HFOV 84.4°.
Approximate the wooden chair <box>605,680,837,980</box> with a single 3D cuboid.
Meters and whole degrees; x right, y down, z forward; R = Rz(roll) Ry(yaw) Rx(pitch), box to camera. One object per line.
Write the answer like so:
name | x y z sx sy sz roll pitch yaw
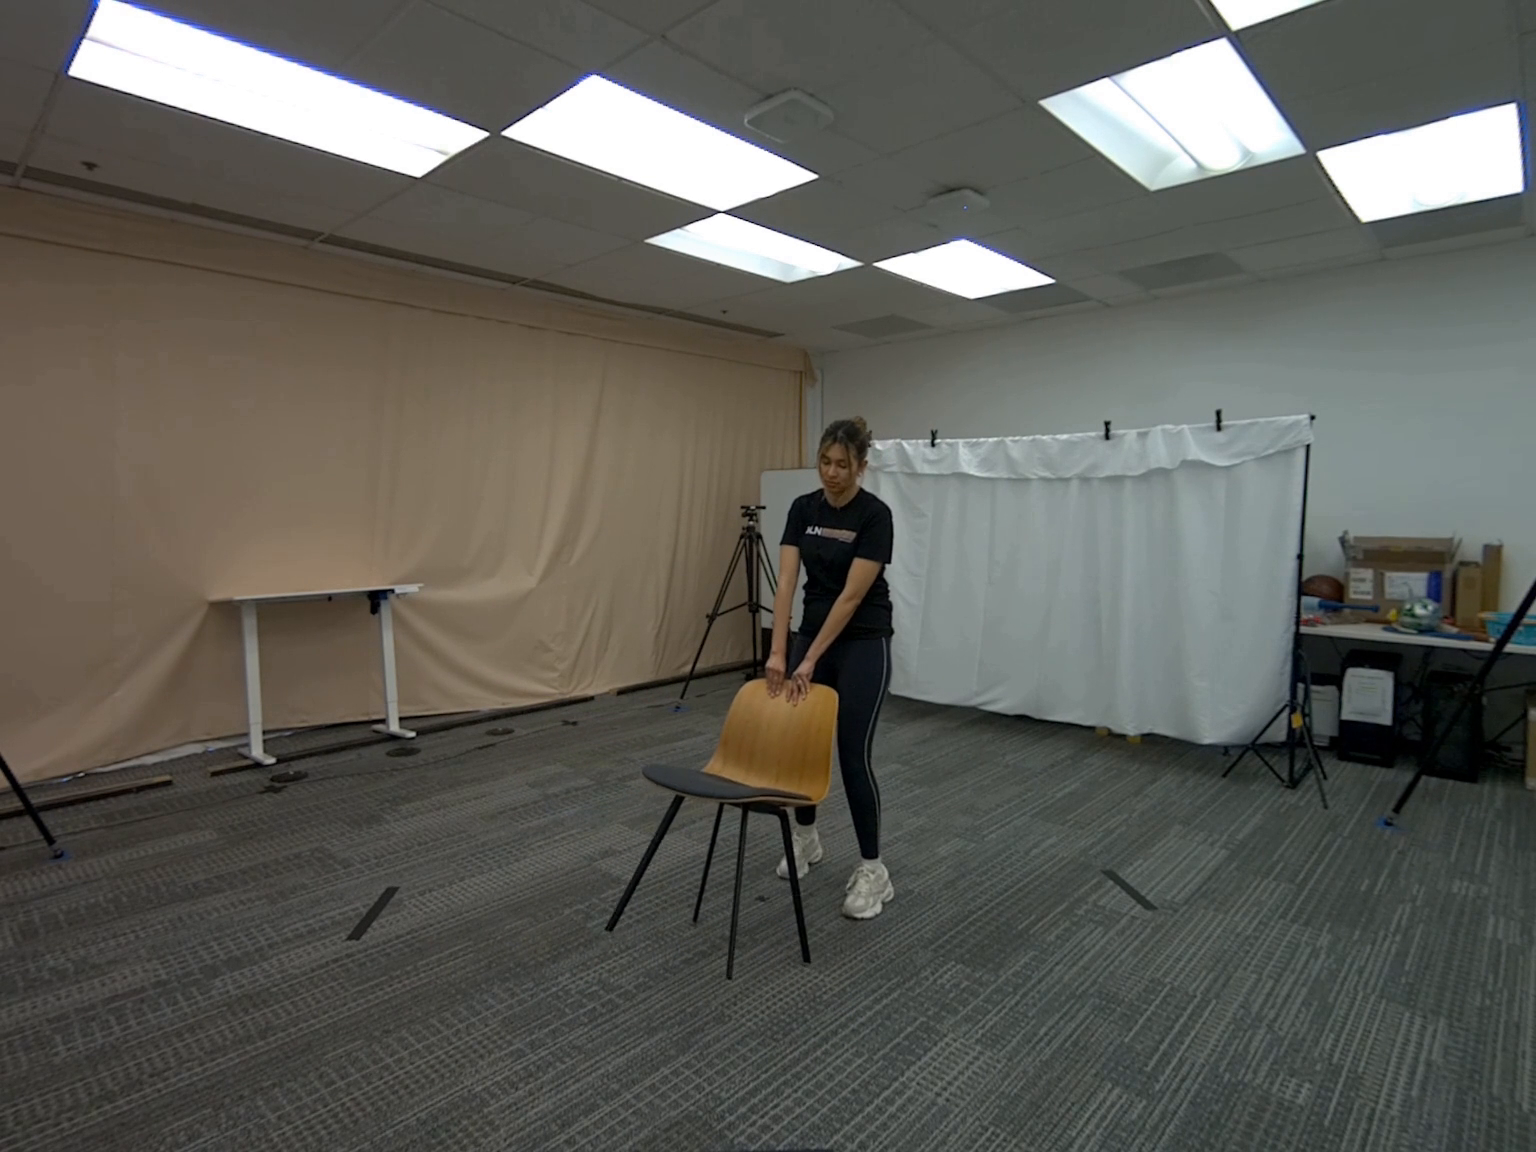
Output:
wooden chair | -0.101 0.699 2.595 0.493 0.882 0.504 2 -19 35
